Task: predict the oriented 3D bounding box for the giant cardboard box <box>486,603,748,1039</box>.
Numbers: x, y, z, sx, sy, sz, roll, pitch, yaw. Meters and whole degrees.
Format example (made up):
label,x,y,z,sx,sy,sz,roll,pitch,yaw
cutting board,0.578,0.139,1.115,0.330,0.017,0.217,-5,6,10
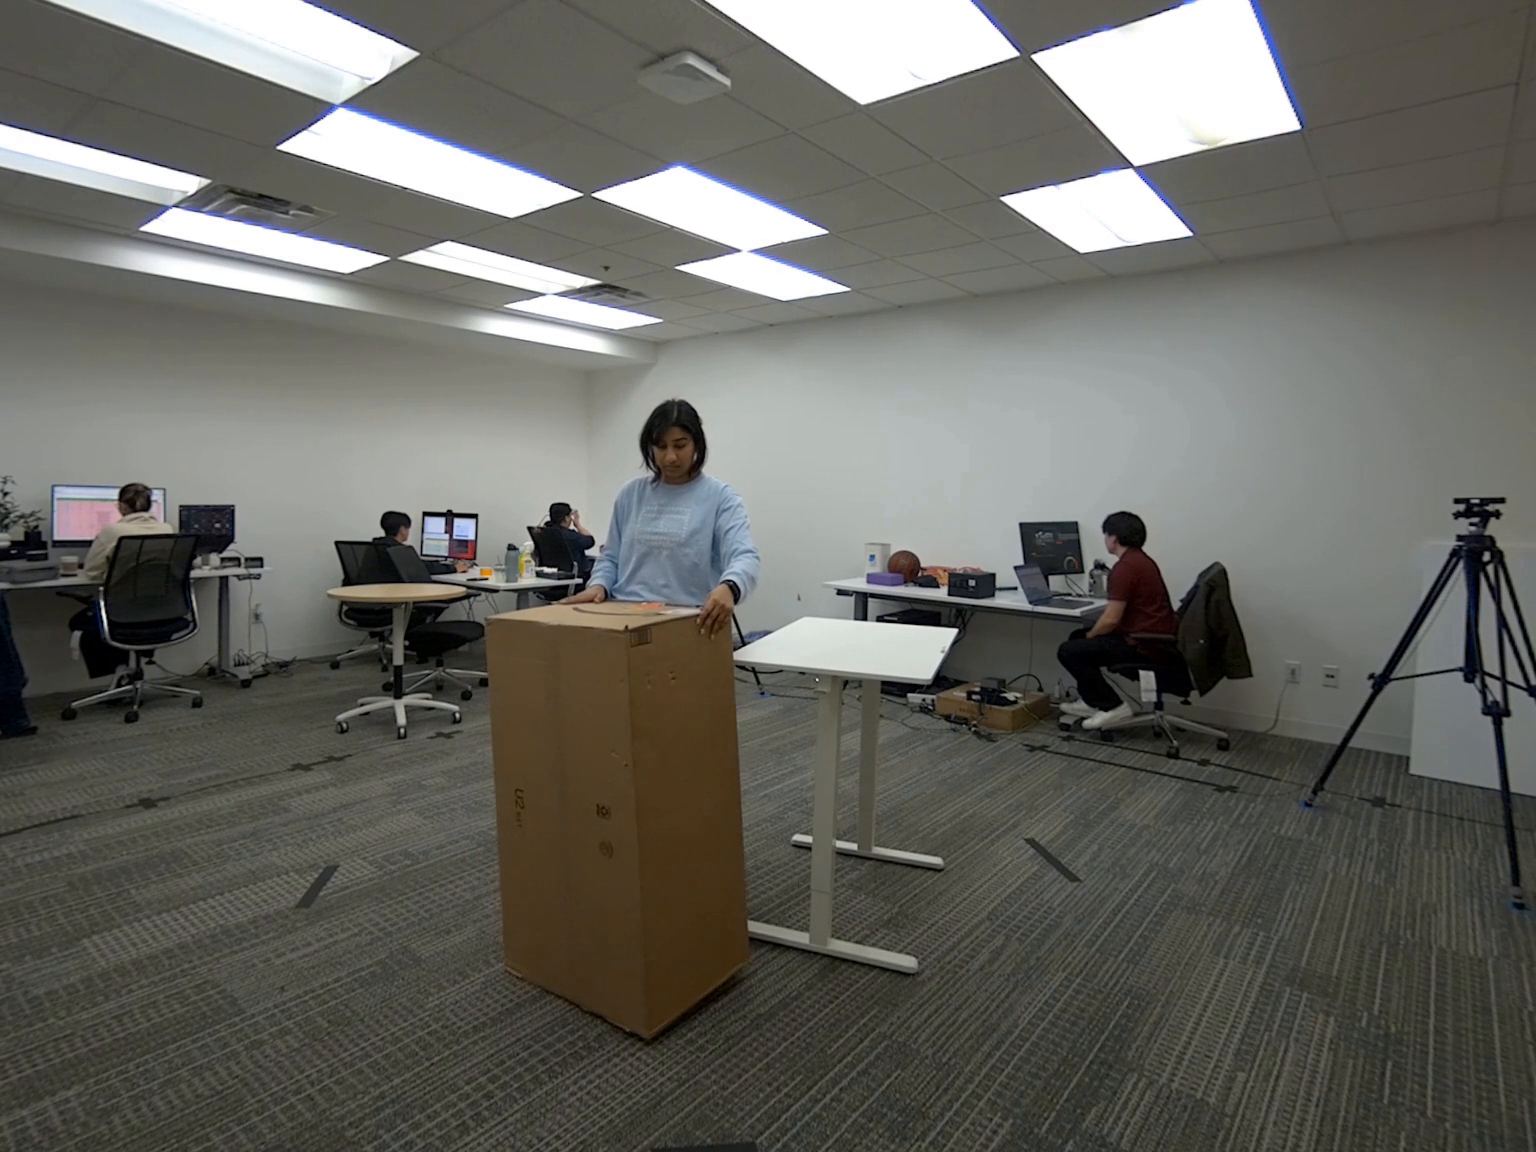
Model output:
label,x,y,z,sx,sy,sz,roll,pitch,yaw
giant cardboard box,-0.443,0.612,2.416,0.595,1.023,0.415,-1,3,36
